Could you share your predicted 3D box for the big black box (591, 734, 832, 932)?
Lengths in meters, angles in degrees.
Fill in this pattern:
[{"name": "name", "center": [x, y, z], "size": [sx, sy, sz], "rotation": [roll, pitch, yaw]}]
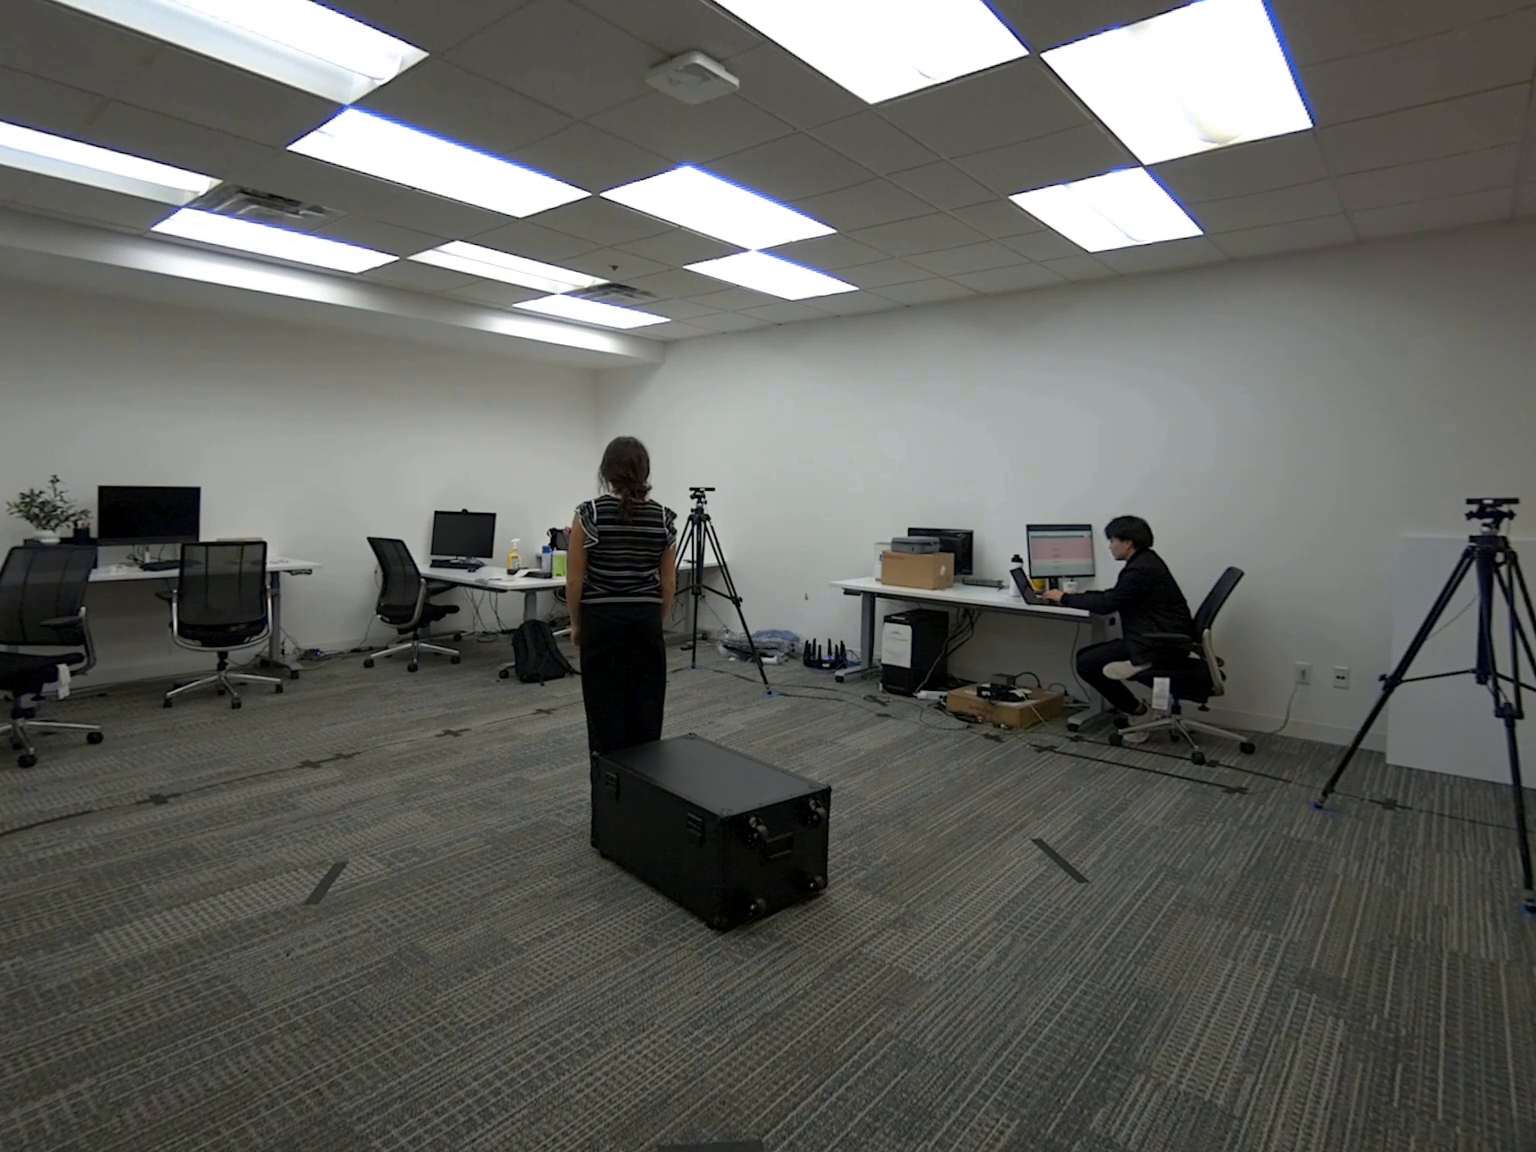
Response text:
[{"name": "big black box", "center": [-0.218, 0.883, 3.044], "size": [0.505, 0.395, 0.891], "rotation": [-3, 6, -41]}]
